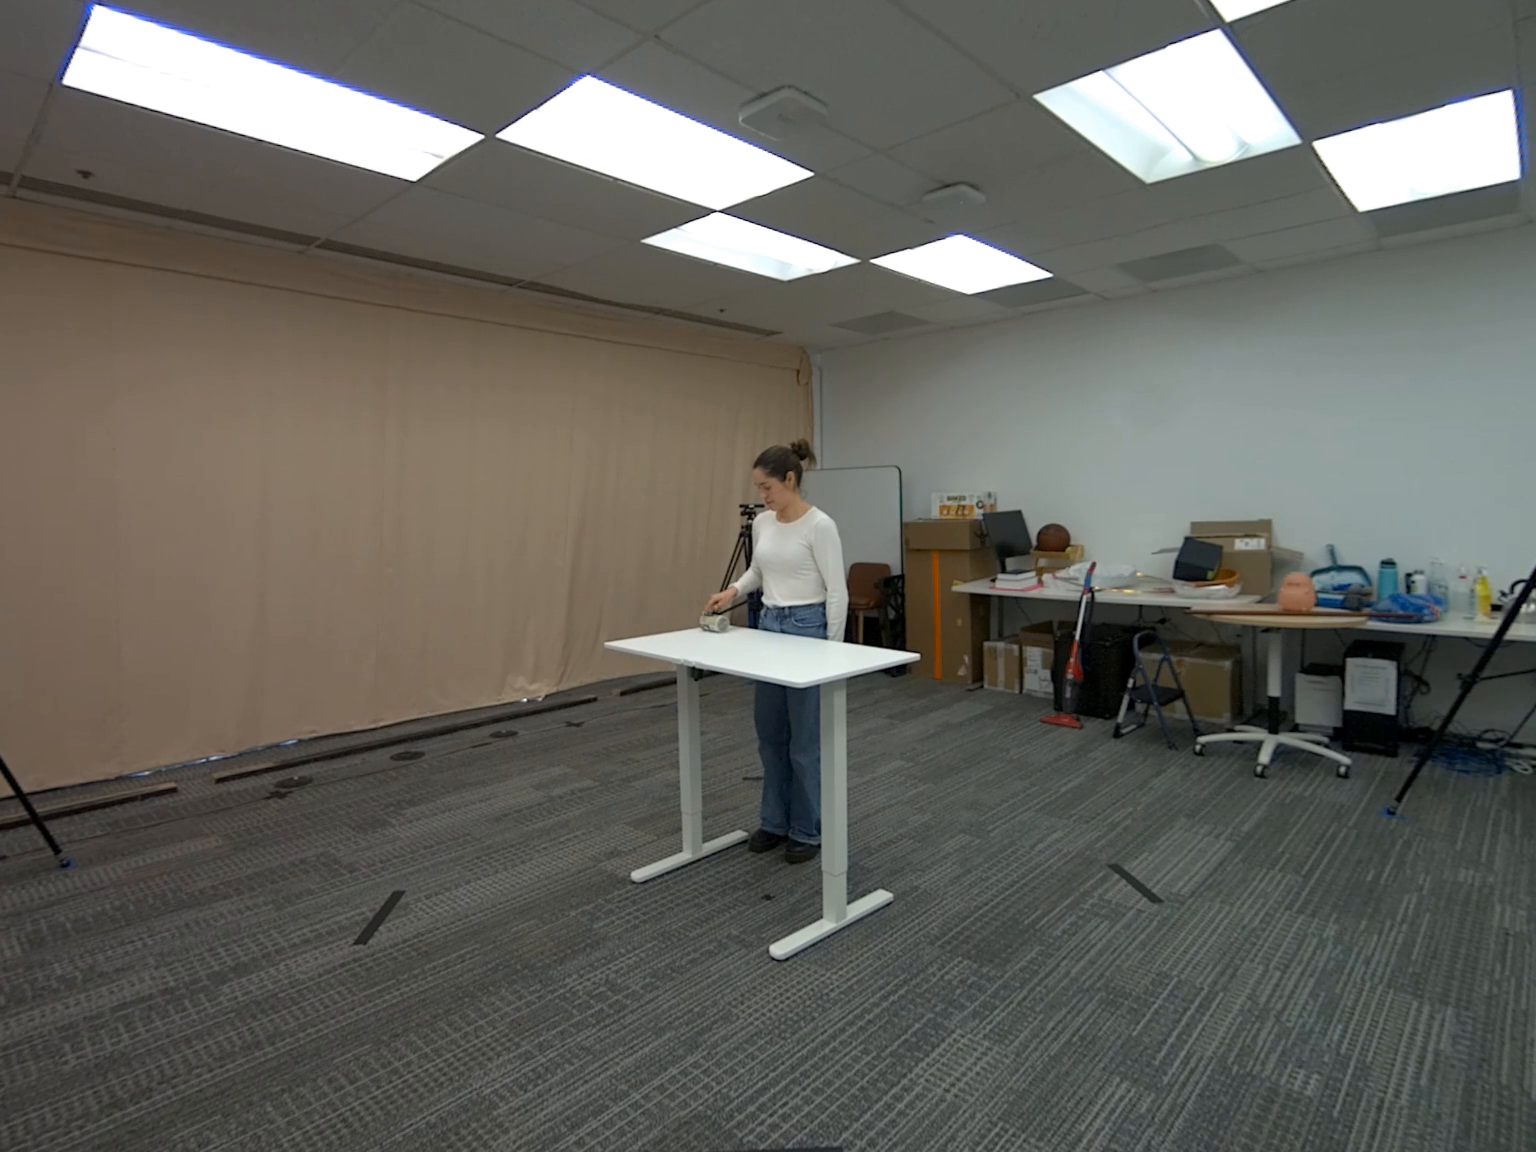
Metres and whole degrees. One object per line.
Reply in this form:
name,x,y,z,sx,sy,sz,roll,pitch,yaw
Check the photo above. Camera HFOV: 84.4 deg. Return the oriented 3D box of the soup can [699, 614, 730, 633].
soup can,-0.191,0.190,3.375,0.123,0.067,0.066,-3,3,12
